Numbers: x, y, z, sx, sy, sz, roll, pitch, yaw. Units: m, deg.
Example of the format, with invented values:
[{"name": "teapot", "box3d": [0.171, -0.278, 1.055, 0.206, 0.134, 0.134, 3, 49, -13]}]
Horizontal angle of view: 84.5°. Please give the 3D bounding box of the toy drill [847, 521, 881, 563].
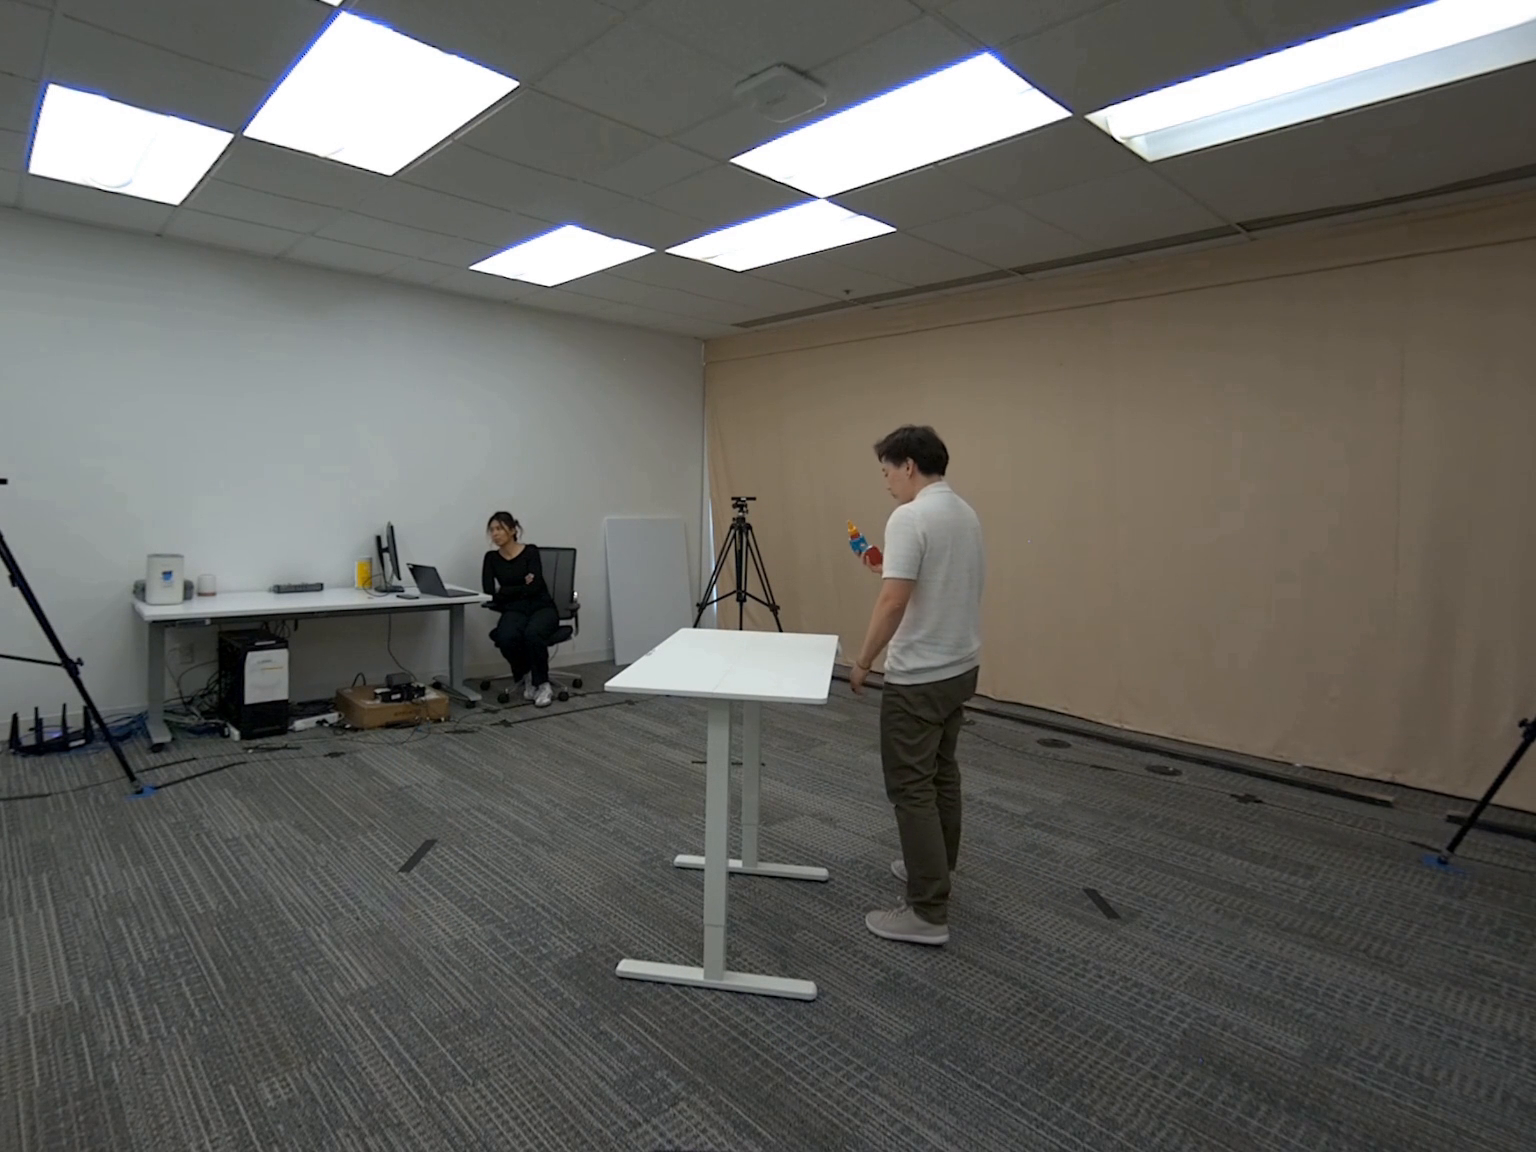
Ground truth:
[{"name": "toy drill", "box3d": [0.352, -0.126, 3.134, 0.061, 0.166, 0.150, -29, 24, -11]}]
